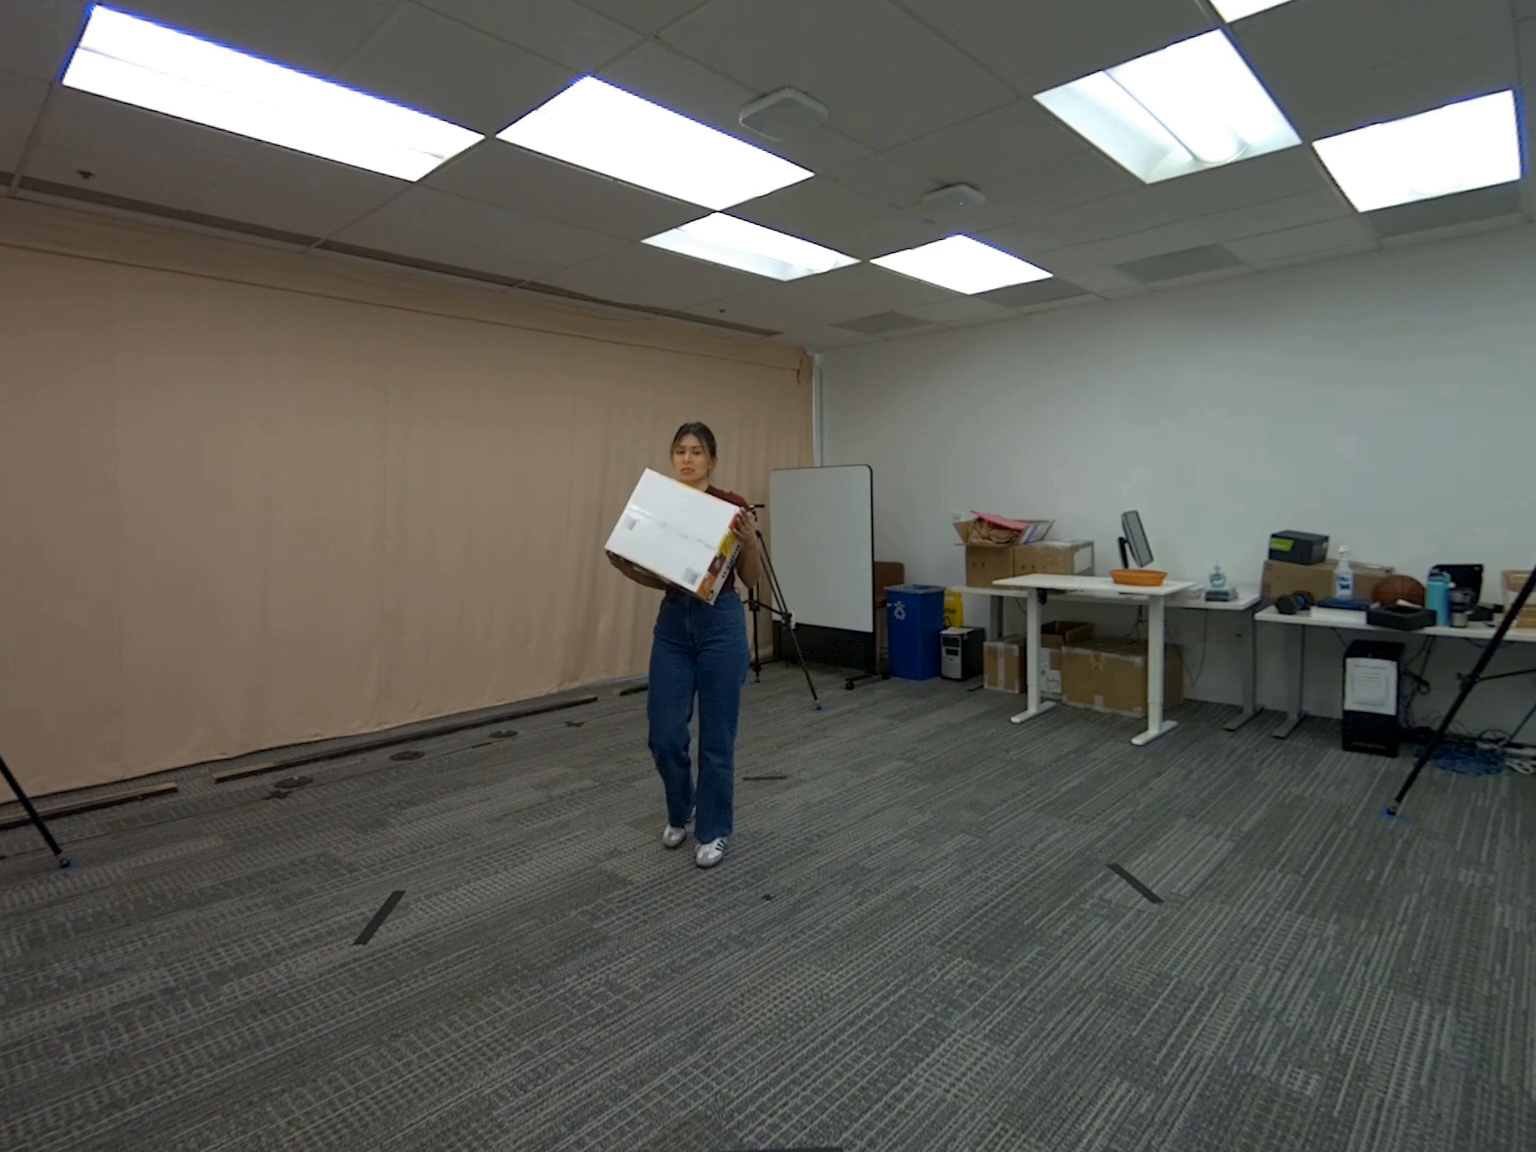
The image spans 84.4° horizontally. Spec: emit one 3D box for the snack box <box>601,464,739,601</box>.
[{"bbox_3d":[-0.324,-0.149,3.075,0.415,0.340,0.200,24,-9,21],"label":"snack box"}]
